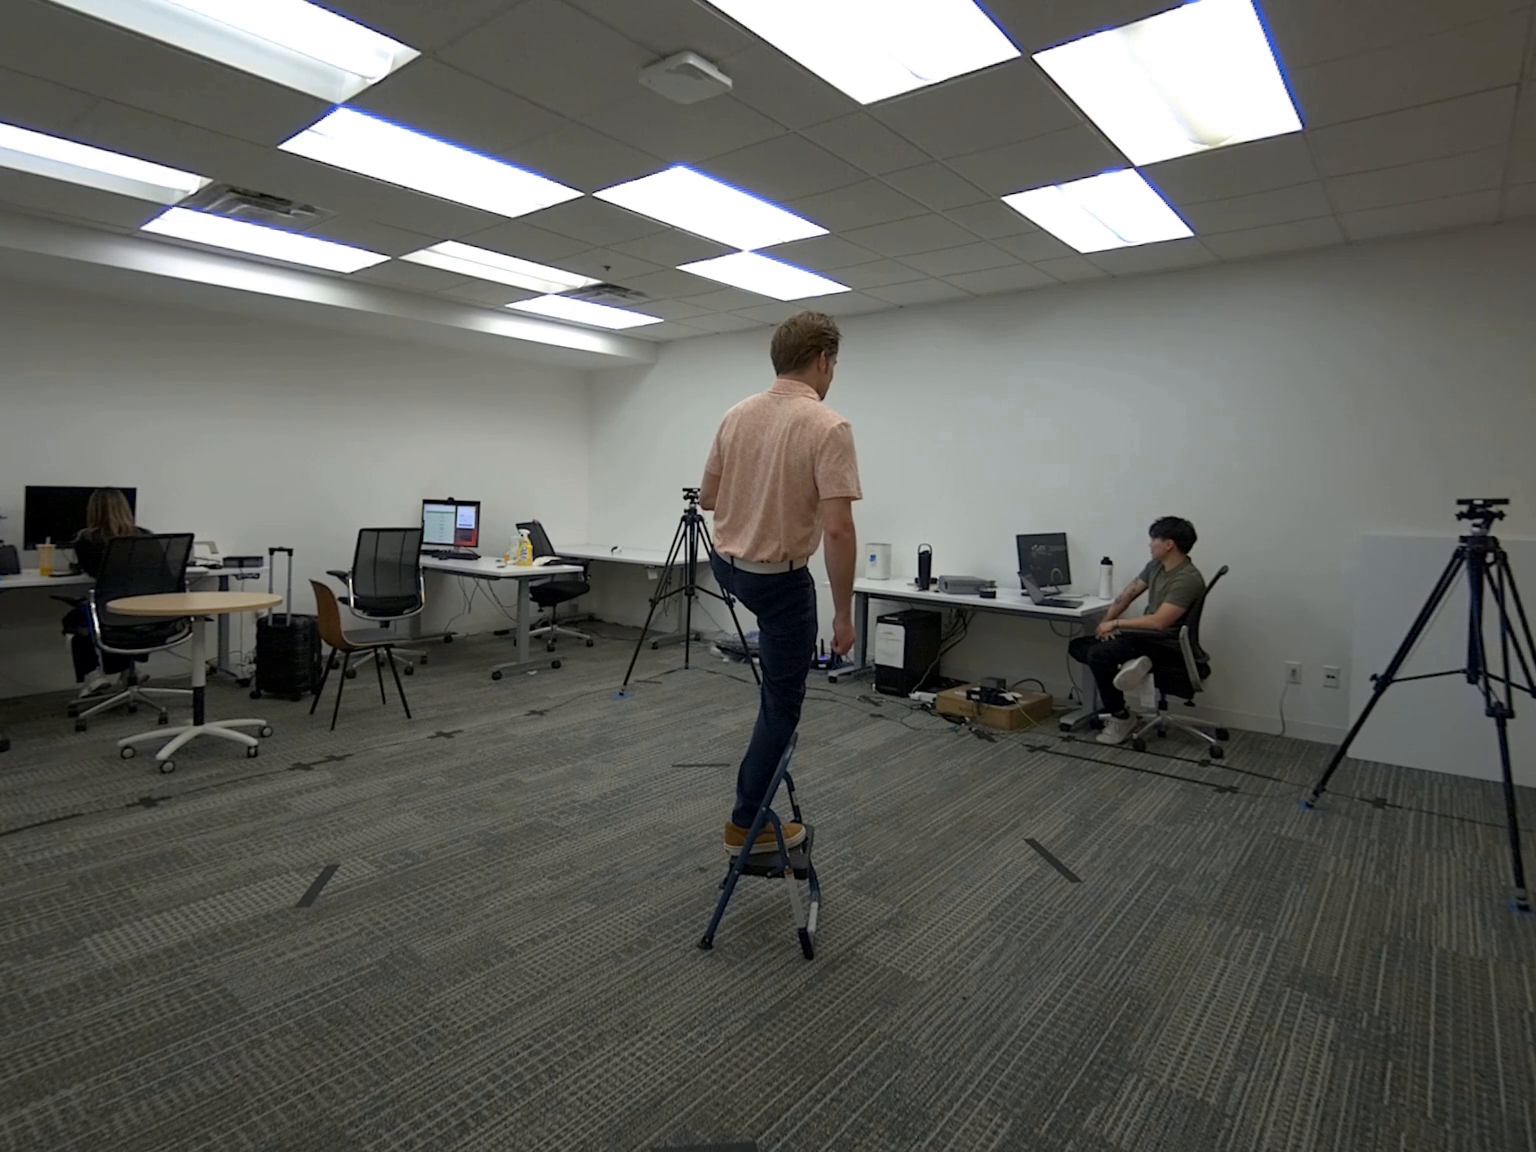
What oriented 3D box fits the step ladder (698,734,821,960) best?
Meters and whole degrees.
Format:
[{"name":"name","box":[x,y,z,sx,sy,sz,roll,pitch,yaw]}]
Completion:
[{"name":"step ladder","box":[-0.013,0.811,2.730,0.353,0.604,0.428,2,4,7]}]
